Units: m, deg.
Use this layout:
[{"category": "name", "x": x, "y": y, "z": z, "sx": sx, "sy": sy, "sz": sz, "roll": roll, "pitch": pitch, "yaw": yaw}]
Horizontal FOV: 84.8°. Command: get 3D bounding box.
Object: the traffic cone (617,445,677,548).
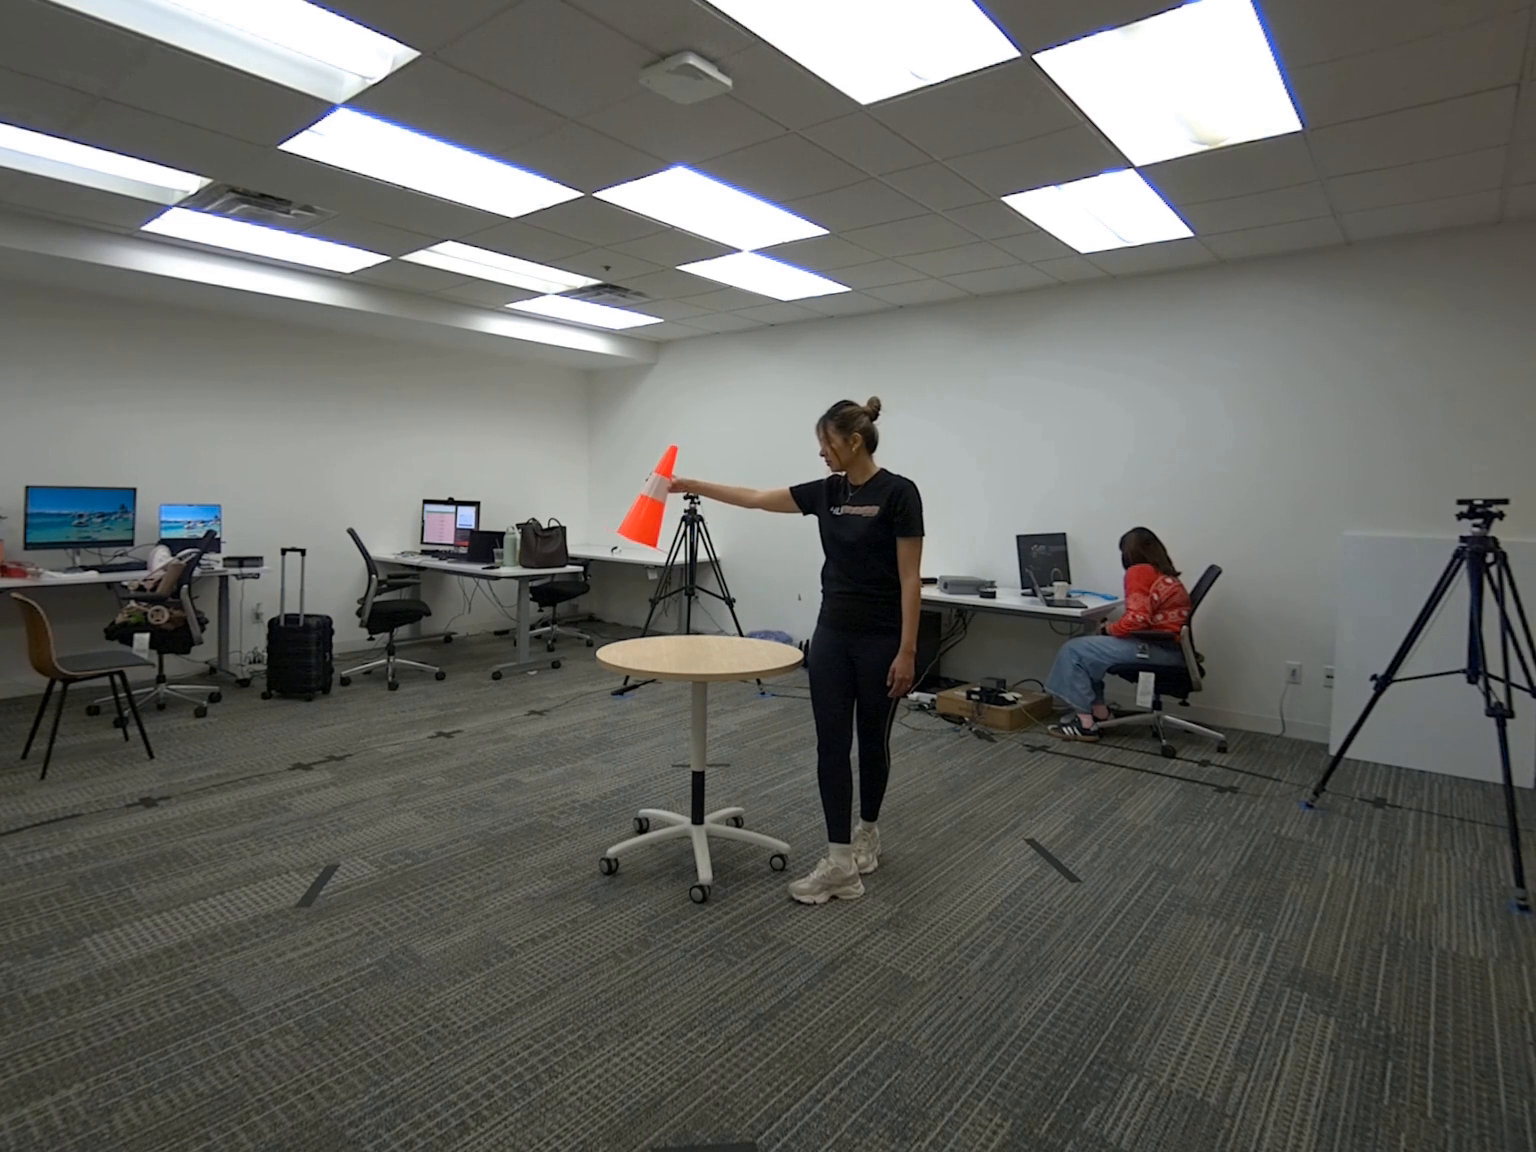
[{"category": "traffic cone", "x": -0.427, "y": -0.306, "z": 3.157, "sx": 0.198, "sy": 0.384, "sz": 0.210, "roll": 21, "pitch": 0, "yaw": -29}]
